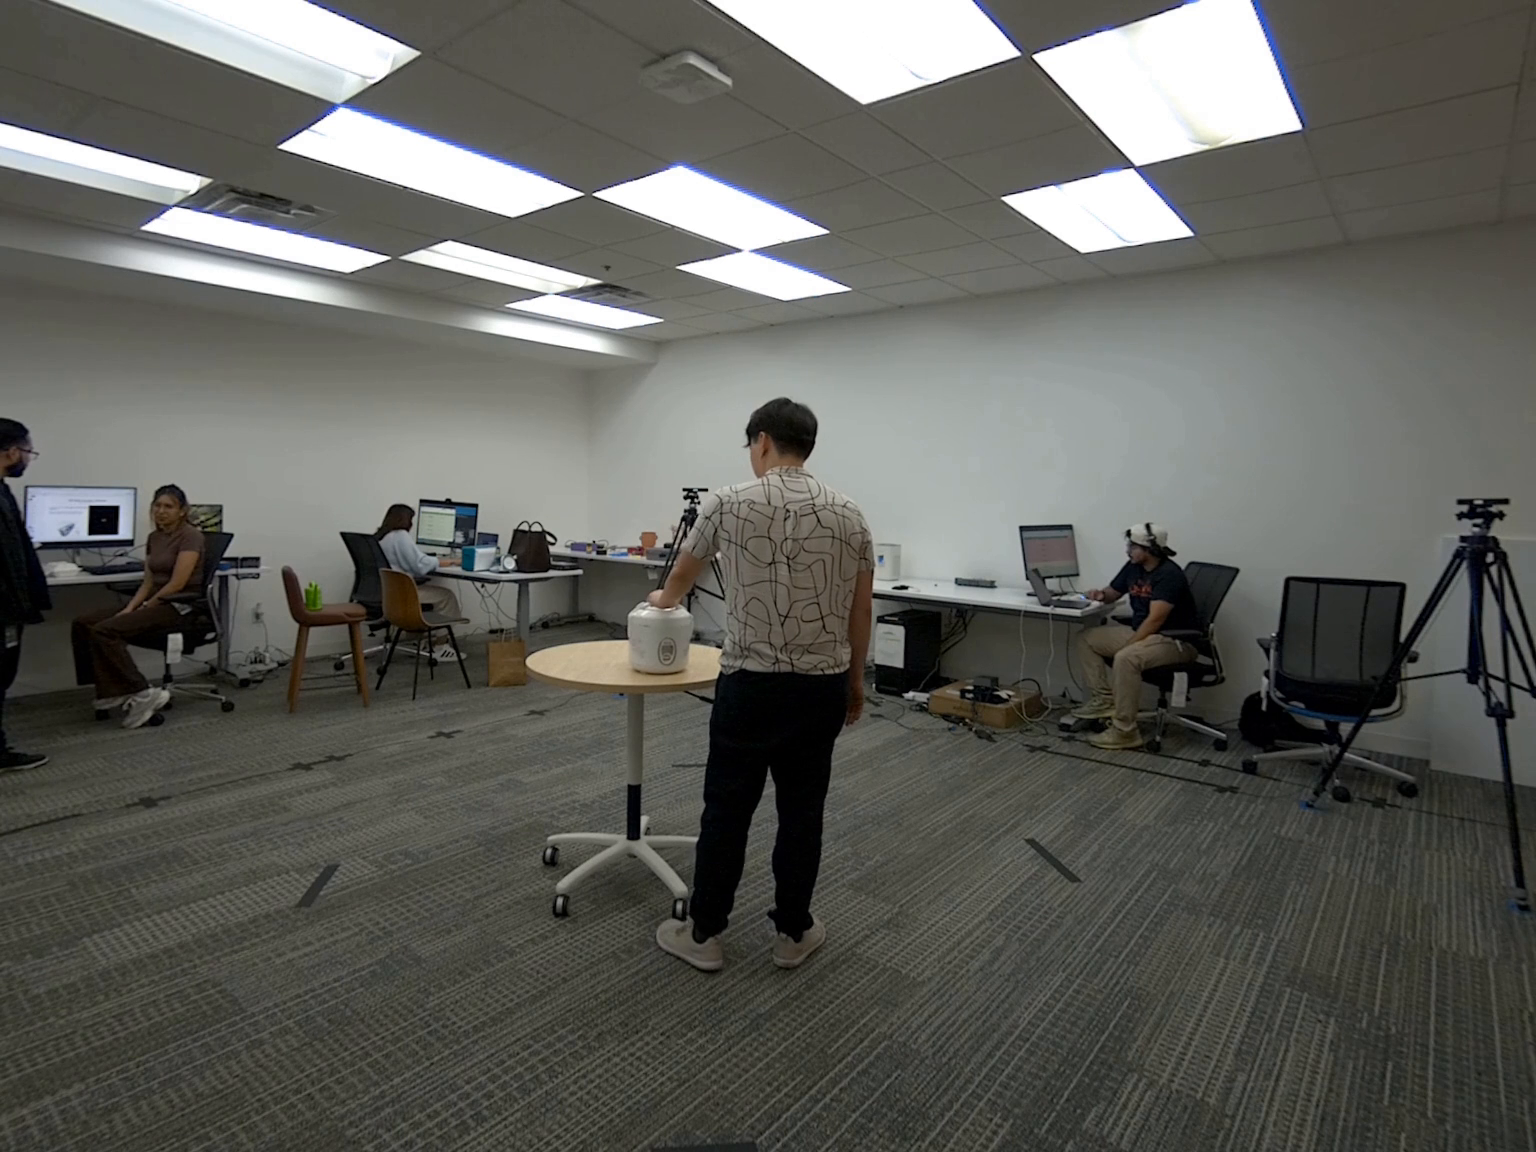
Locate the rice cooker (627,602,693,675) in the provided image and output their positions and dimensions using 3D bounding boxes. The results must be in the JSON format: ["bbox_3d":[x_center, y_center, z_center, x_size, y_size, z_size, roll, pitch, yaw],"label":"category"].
[{"bbox_3d":[-0.371,0.195,2.853,0.216,0.232,0.222,-1,5,-19],"label":"rice cooker"}]
